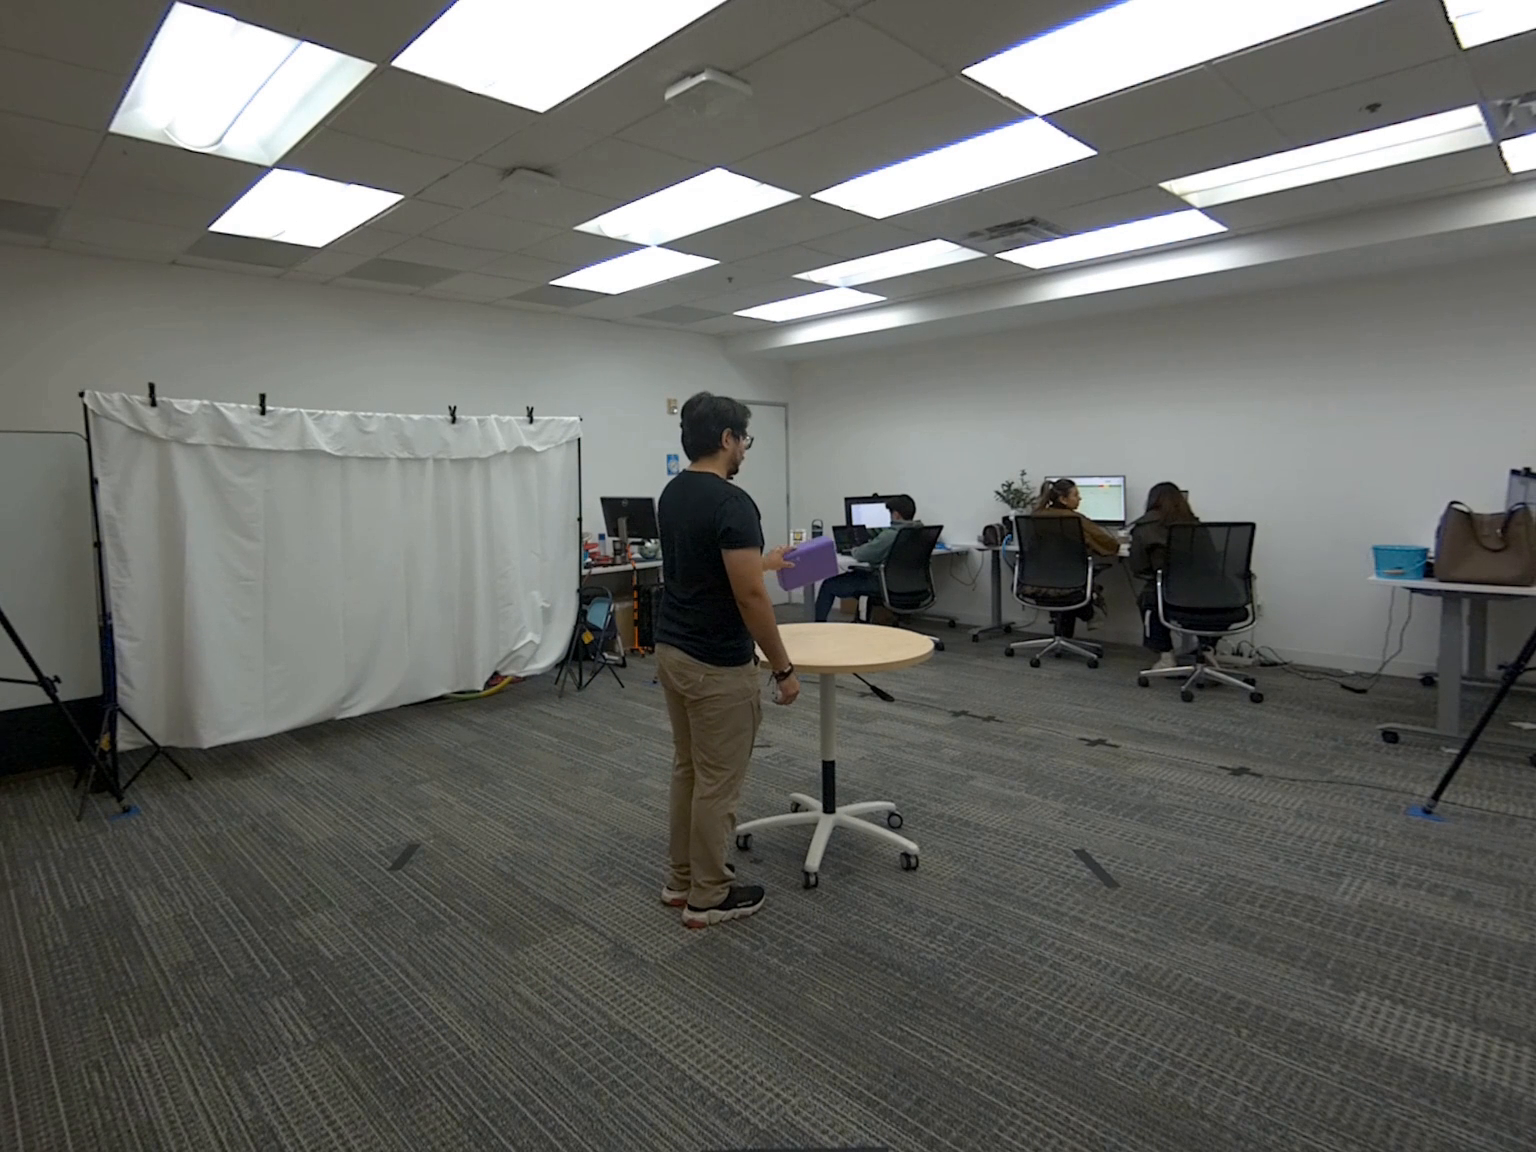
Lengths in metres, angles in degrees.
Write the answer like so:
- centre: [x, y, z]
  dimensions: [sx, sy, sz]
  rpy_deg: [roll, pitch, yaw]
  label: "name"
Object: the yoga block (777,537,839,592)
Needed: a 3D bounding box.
- centre: [0.154, -0.053, 3.237]
  dimensions: [0.229, 0.146, 0.078]
  rpy_deg: [-17, 16, -4]
  label: "yoga block"
